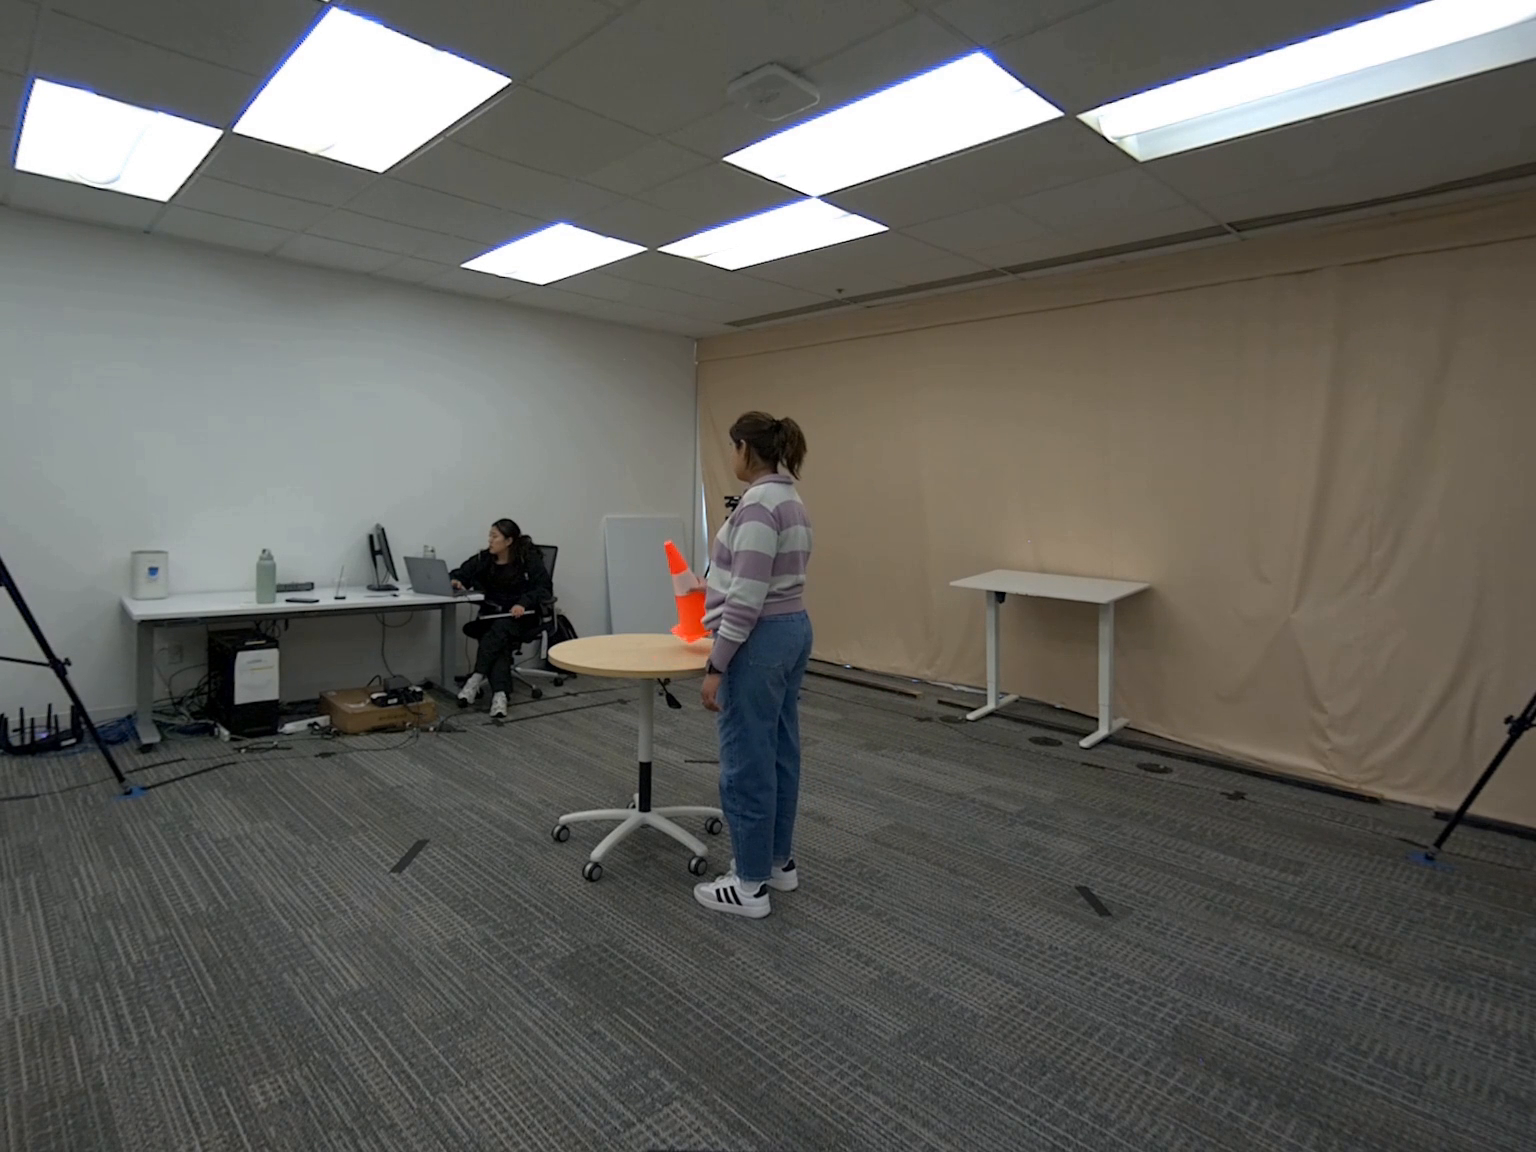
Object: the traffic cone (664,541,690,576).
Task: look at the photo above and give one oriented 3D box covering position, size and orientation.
[{"bbox_3d":[-0.327,0.038,3.273,0.202,0.377,0.210,-24,22,-20],"label":"traffic cone"}]
